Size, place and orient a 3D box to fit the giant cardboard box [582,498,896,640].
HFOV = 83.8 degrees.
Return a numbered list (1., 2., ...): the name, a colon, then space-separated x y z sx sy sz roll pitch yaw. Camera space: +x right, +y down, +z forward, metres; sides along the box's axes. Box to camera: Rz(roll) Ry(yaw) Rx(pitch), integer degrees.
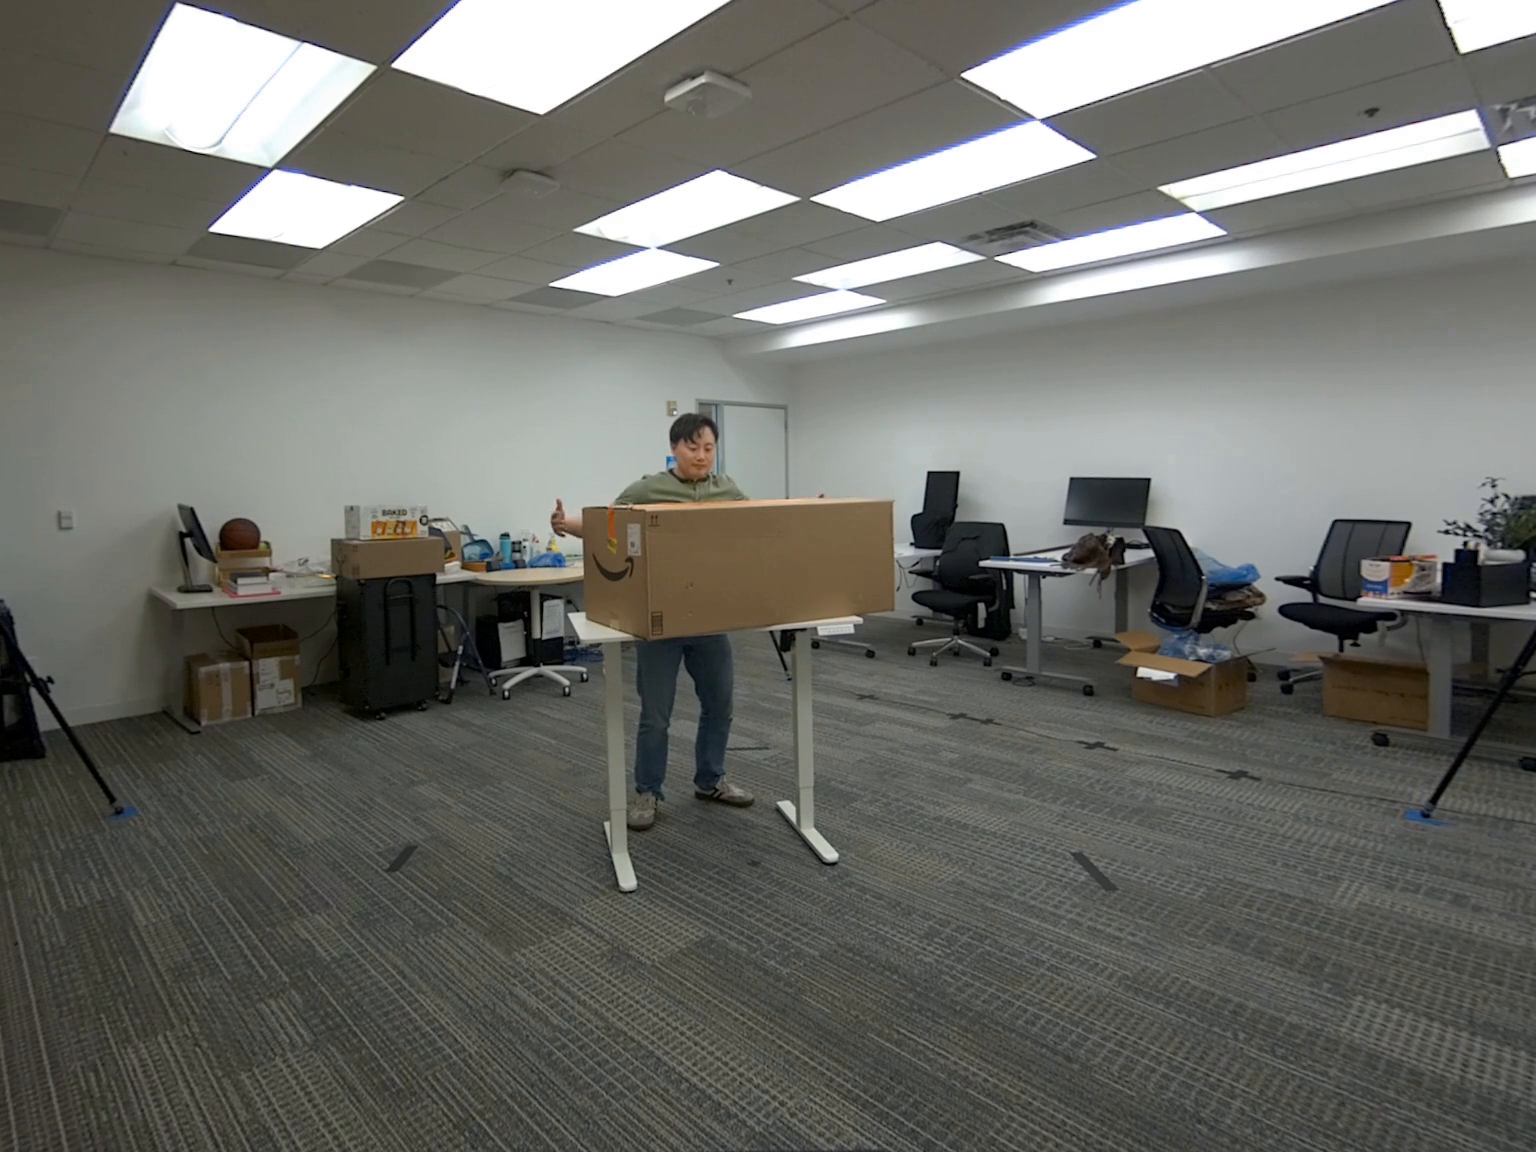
1. giant cardboard box: -0.108 -0.063 3.207 1.002 0.425 0.593 -5 6 -30
